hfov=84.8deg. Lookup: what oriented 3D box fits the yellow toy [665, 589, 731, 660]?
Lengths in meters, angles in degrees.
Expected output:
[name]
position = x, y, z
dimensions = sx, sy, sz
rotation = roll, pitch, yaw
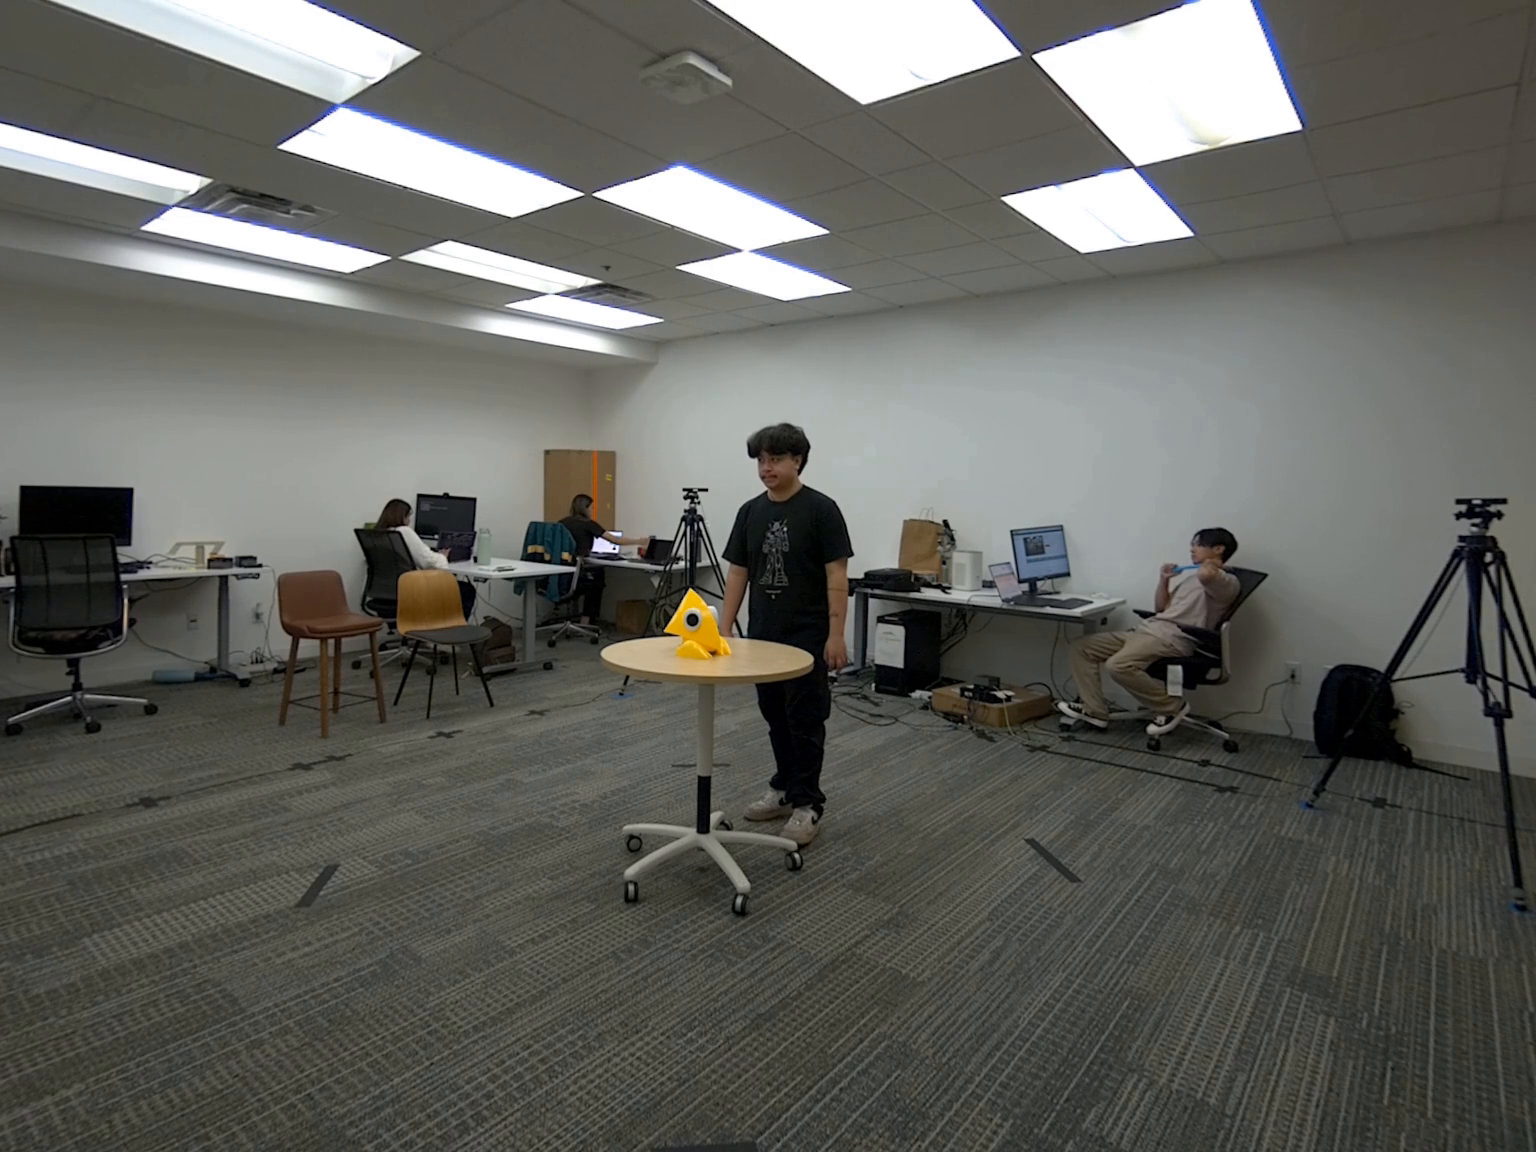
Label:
[yellow toy]
position = -0.247, 0.166, 3.075
dimensions = 0.199, 0.230, 0.198
rotation = 4, 4, 38
